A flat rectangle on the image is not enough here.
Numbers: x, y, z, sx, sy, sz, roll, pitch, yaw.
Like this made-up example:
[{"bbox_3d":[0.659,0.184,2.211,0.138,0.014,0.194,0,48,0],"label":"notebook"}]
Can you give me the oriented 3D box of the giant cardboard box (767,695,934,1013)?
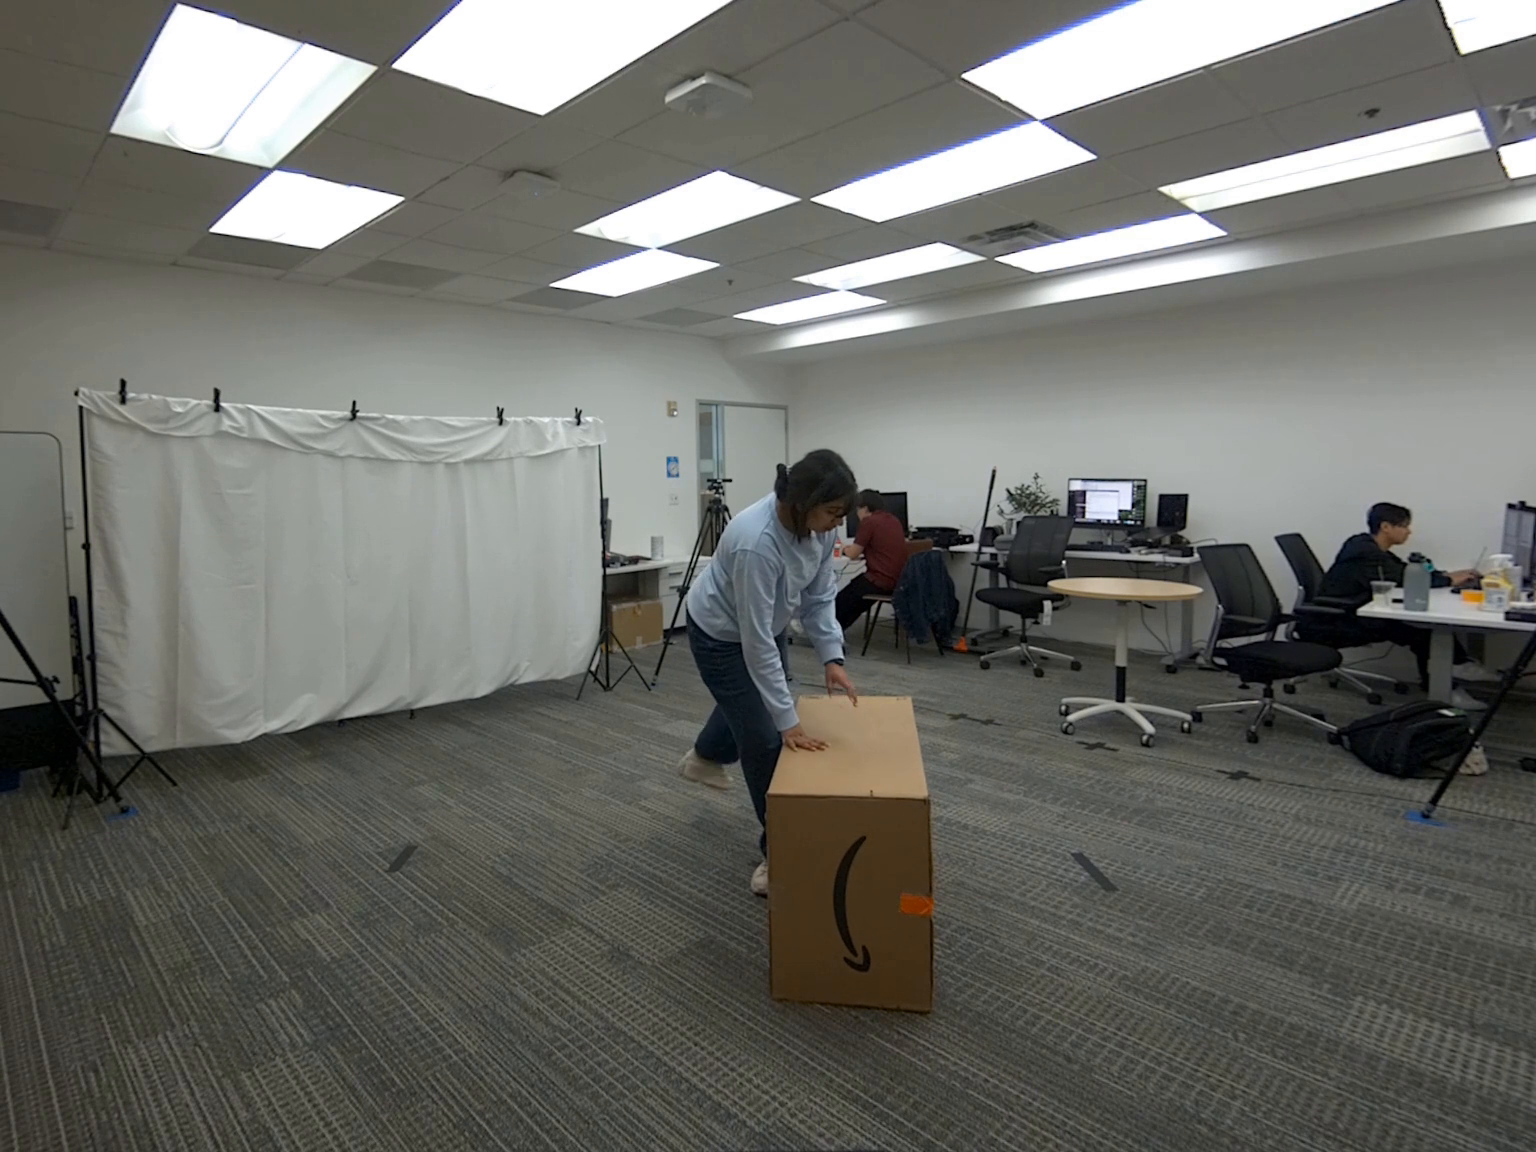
[{"bbox_3d":[0.281,0.792,2.729,0.430,0.575,1.021,0,5,7],"label":"giant cardboard box"}]
